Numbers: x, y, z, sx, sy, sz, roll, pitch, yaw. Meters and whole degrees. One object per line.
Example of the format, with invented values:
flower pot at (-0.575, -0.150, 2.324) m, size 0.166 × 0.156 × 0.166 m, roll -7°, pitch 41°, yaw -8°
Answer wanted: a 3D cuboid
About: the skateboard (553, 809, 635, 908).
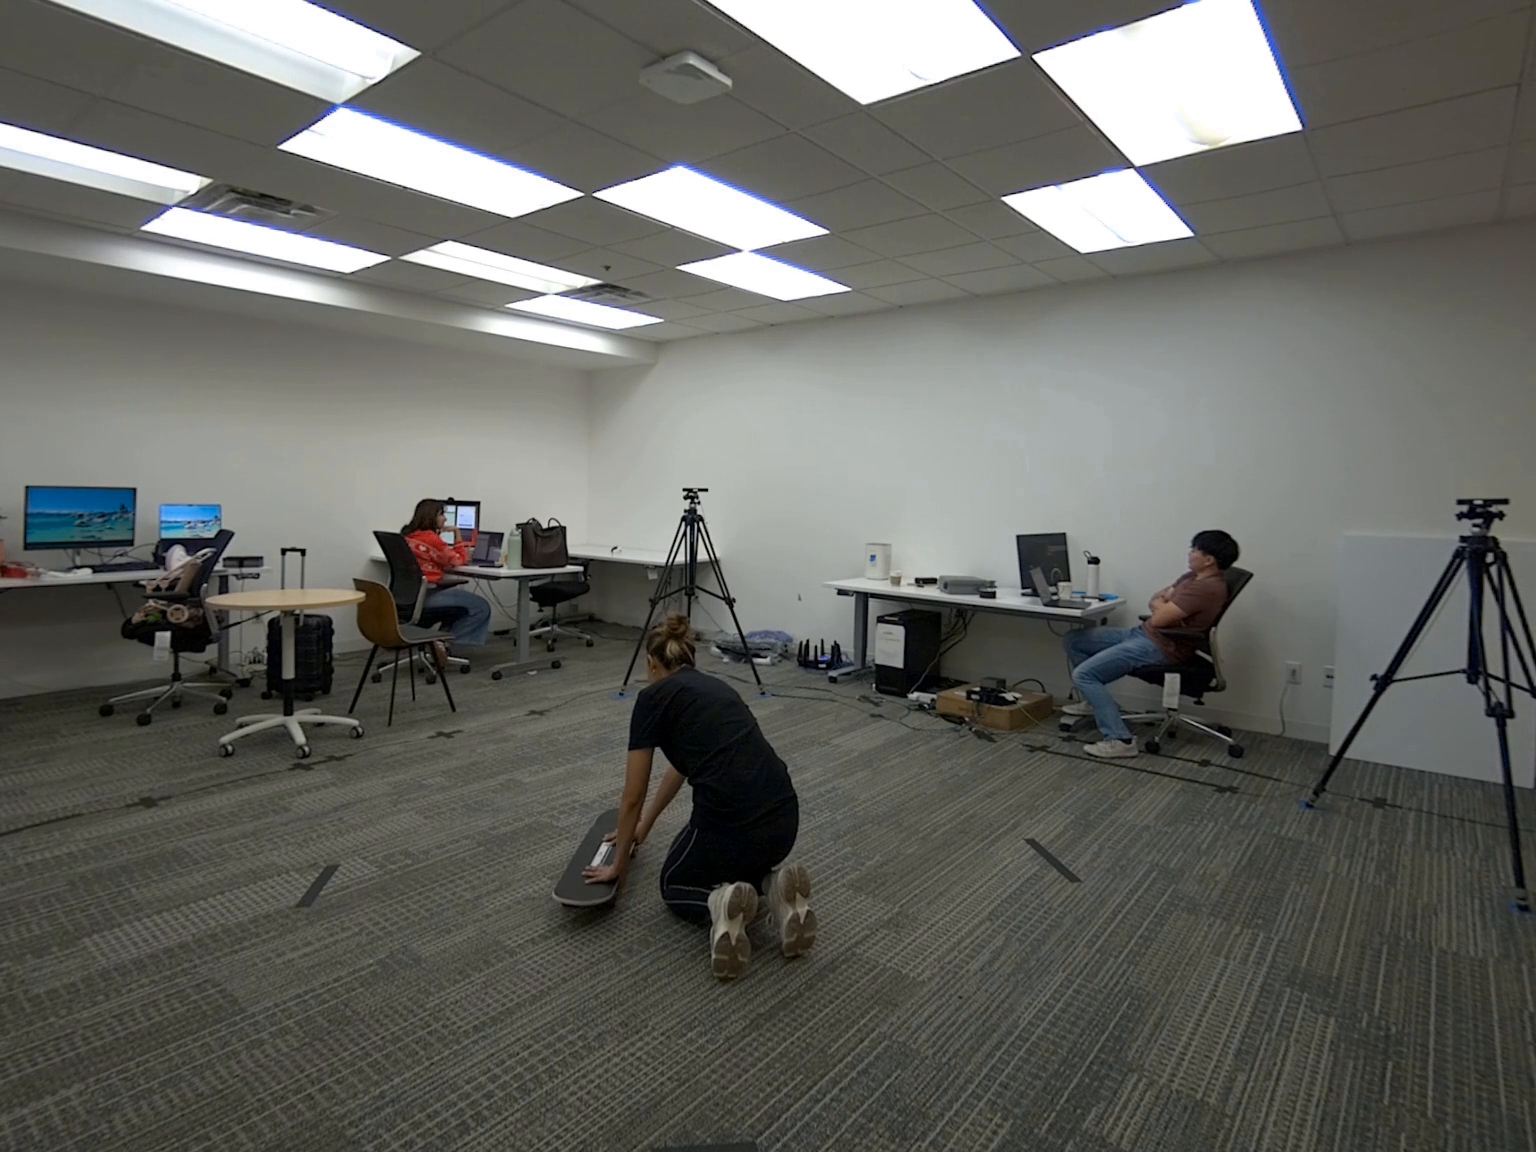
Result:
skateboard at (-0.597, 1.010, 3.010) m, size 0.194 × 0.110 × 0.786 m, roll 2°, pitch 5°, yaw 1°
